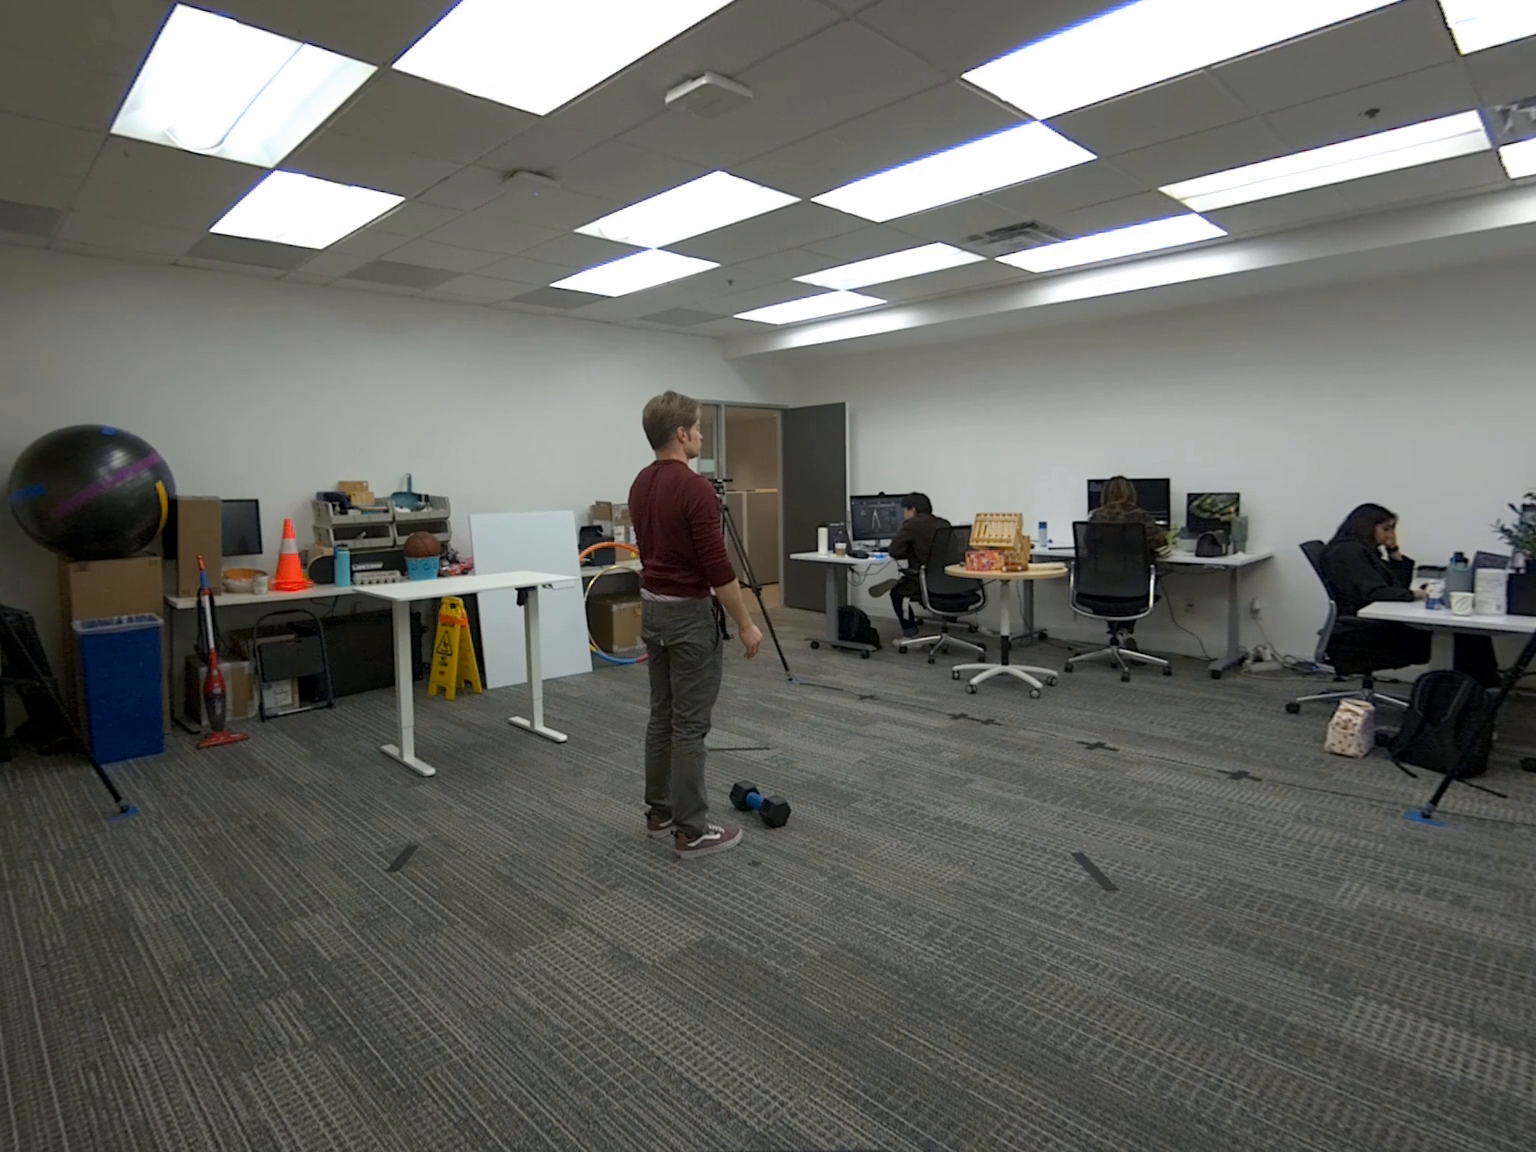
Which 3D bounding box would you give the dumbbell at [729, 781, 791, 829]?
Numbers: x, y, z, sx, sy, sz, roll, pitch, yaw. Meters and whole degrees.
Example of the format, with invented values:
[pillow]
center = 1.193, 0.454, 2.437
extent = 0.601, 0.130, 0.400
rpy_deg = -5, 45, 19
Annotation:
[dumbbell]
center = -0.033, 0.942, 3.539
extent = 0.108, 0.120, 0.302
rpy_deg = -34, 23, -28
